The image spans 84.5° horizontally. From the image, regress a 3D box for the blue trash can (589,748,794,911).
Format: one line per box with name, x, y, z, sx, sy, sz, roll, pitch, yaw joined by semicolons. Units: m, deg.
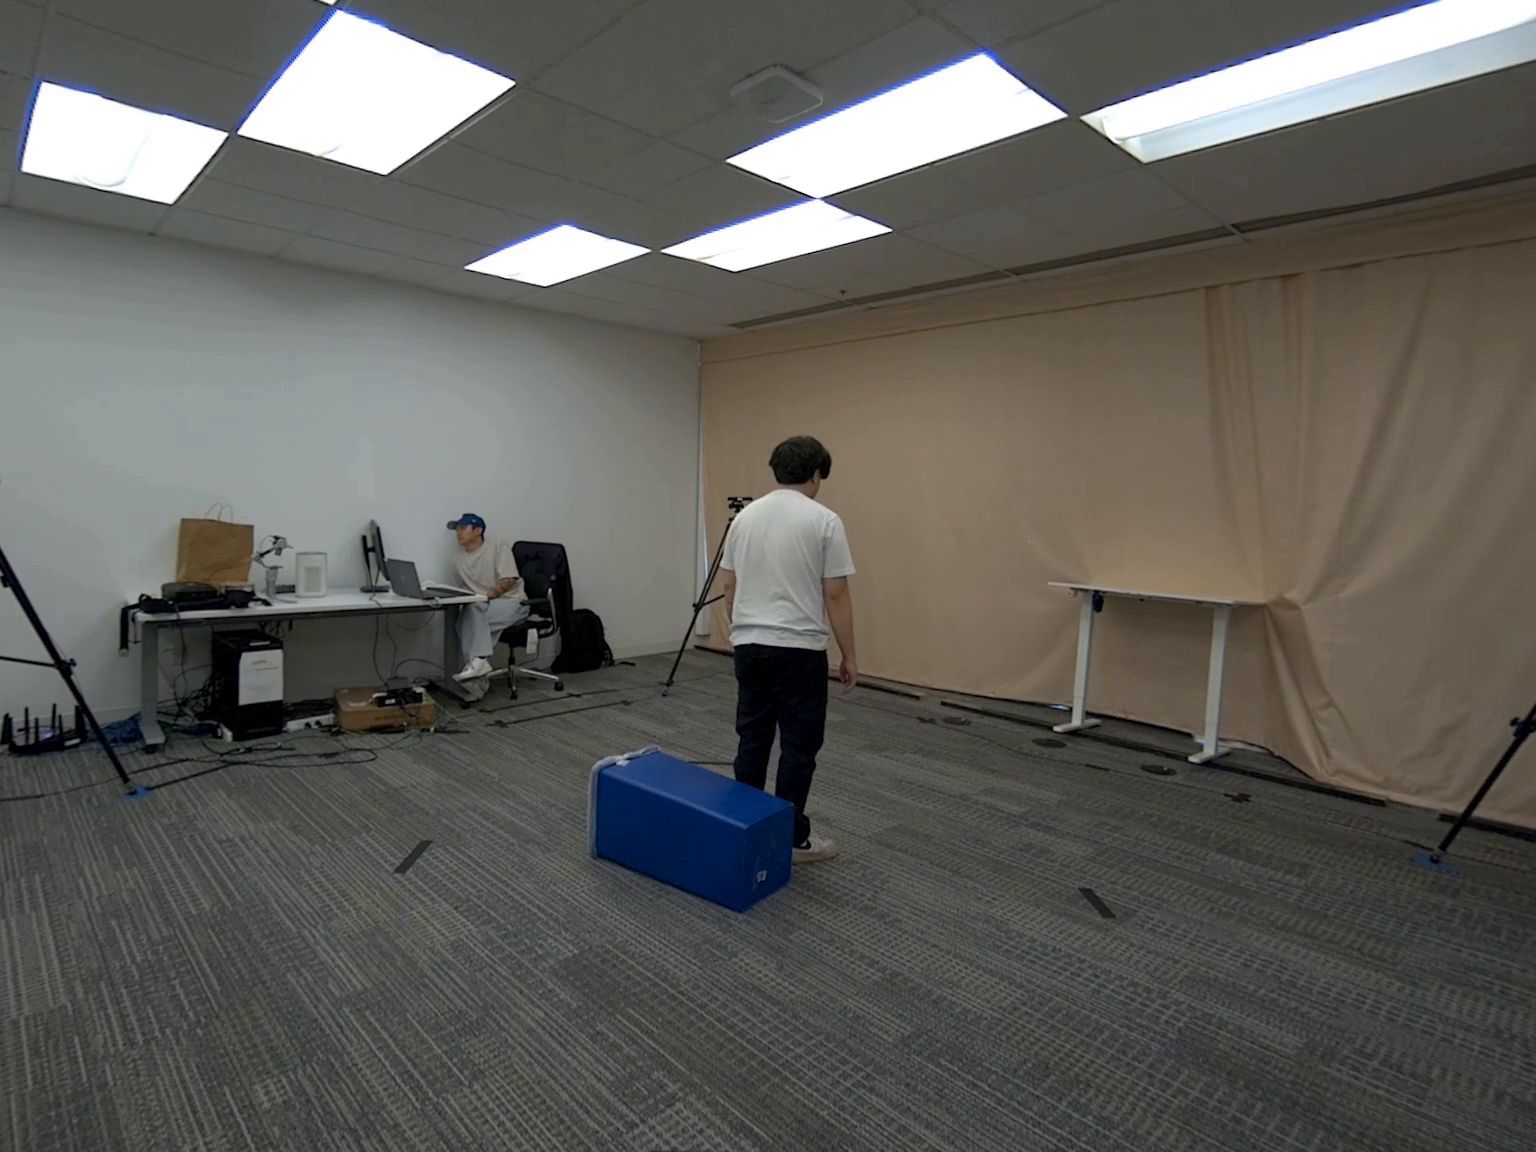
blue trash can;-0.298;0.938;3.137;0.732;0.373;0.369;9;7;37
